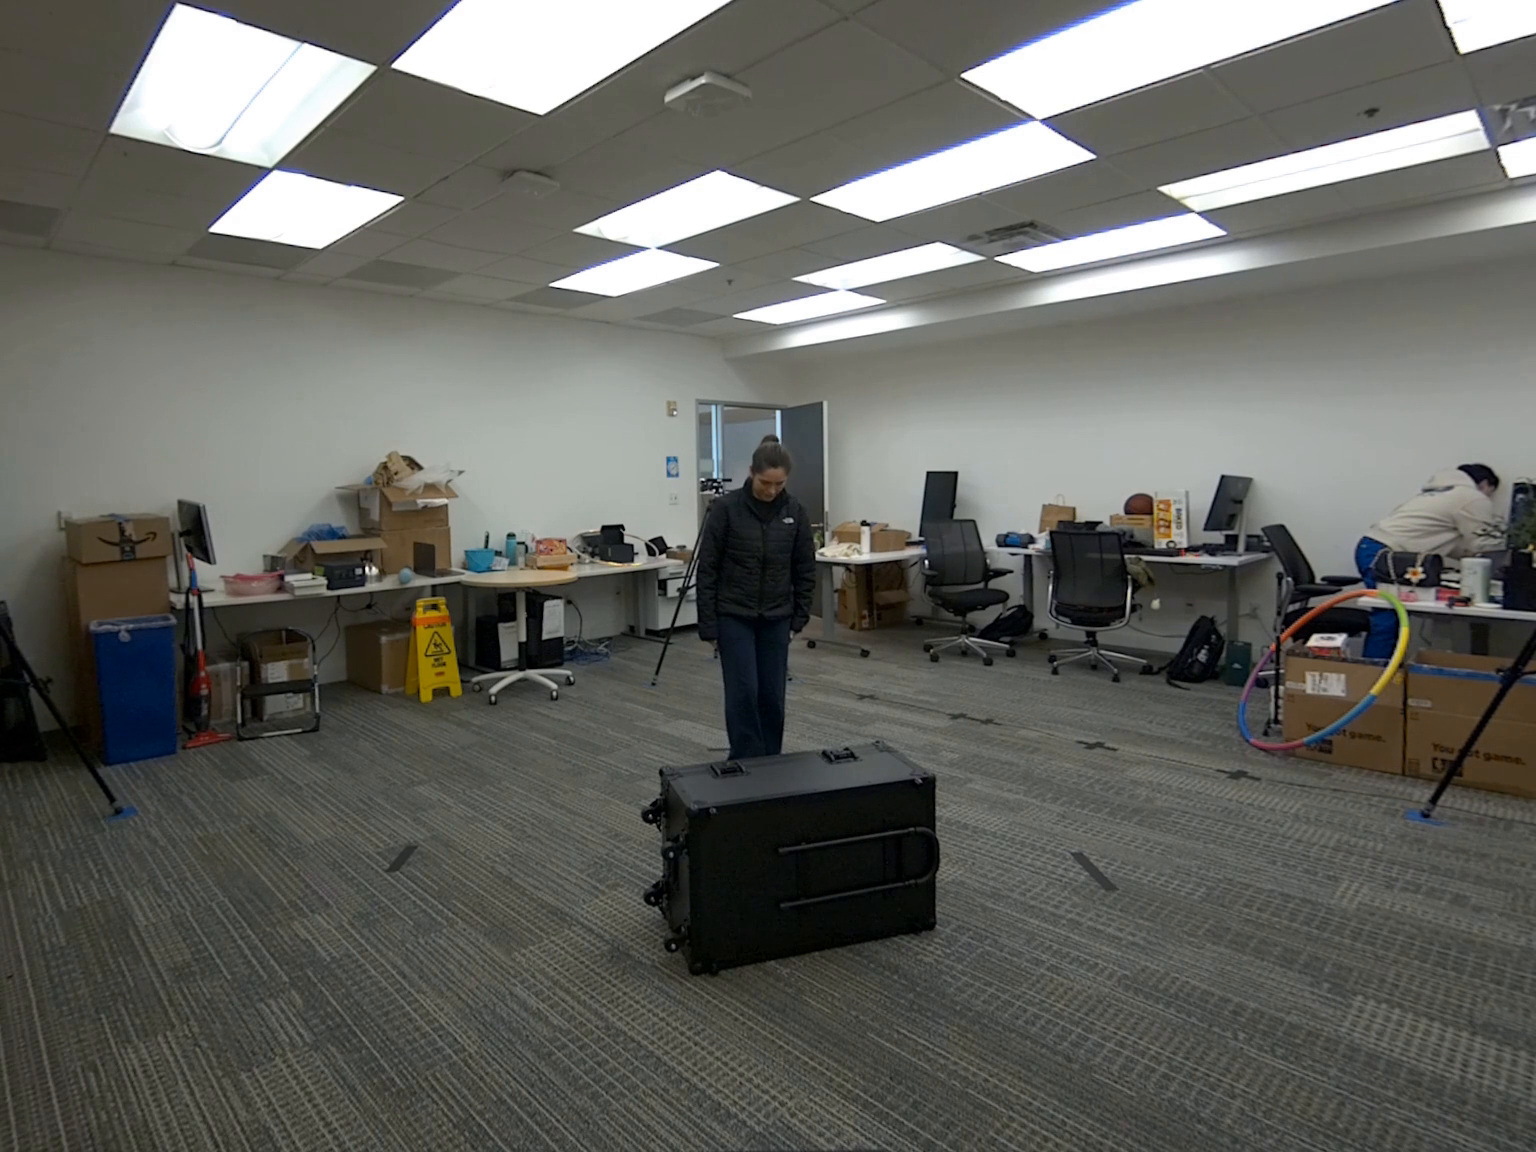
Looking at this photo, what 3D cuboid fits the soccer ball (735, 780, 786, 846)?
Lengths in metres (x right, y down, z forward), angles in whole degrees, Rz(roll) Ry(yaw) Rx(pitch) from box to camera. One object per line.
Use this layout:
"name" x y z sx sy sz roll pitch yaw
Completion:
"soccer ball" -0.034 0.928 3.375 0.187 0.187 0.188 -1 5 -2
